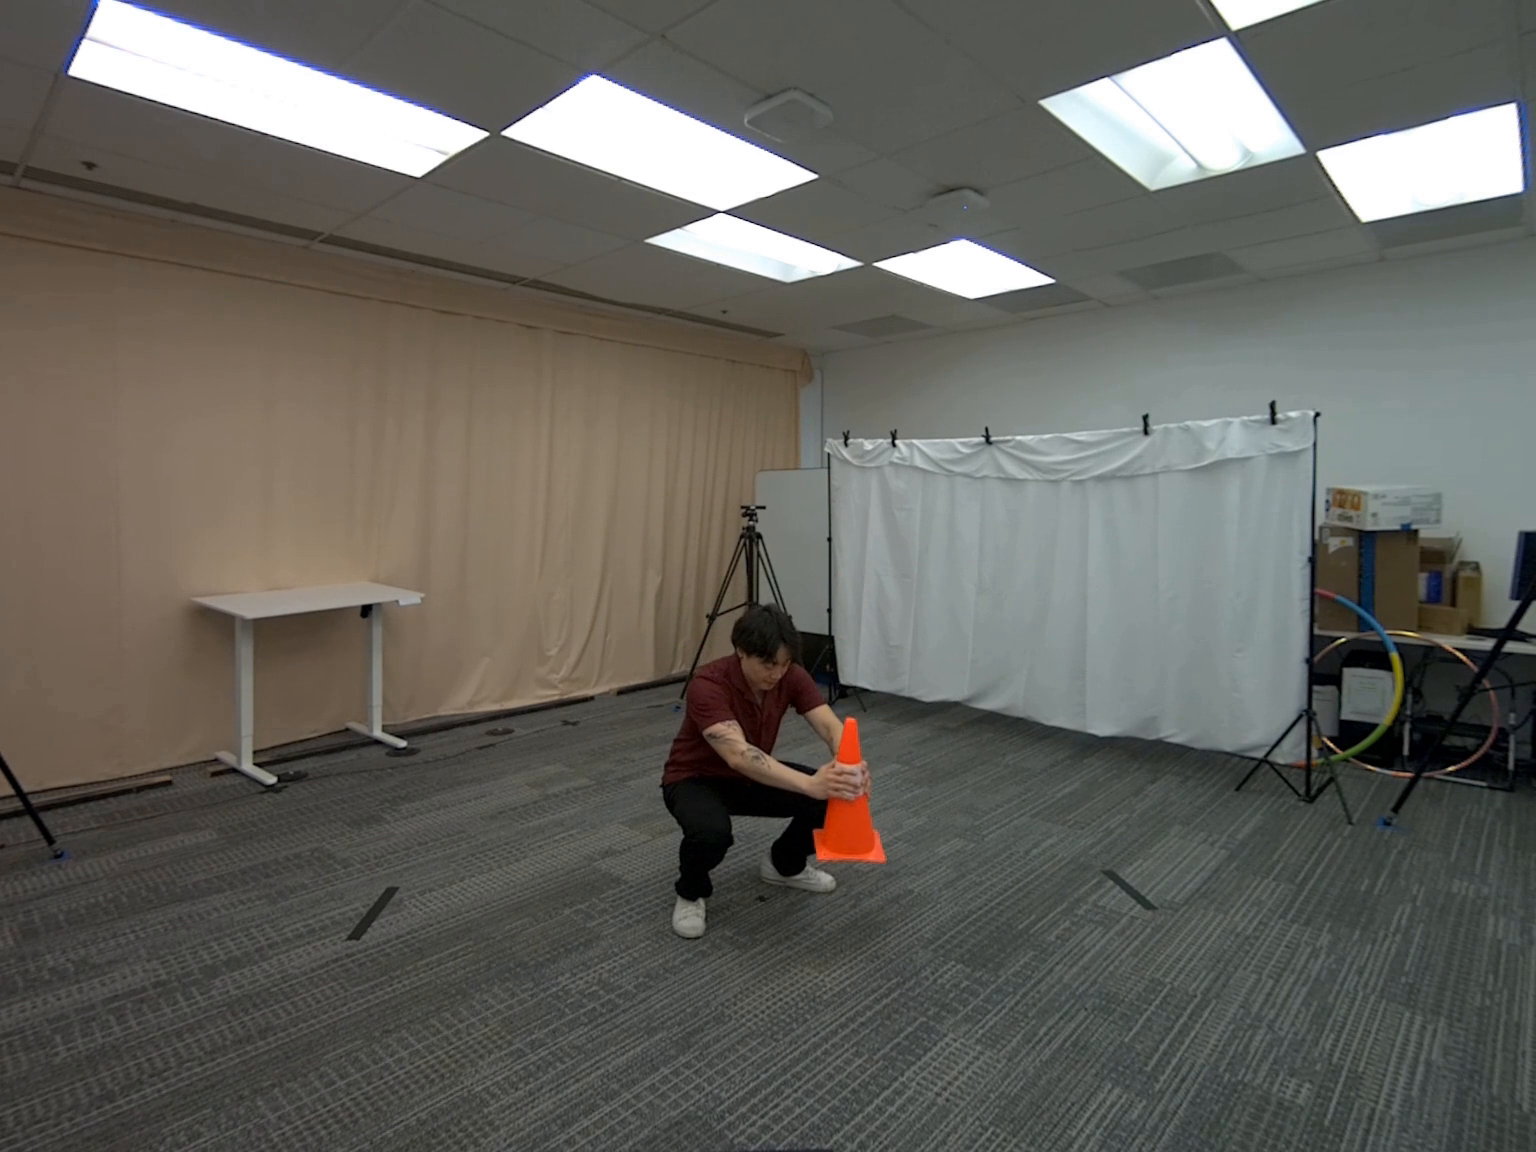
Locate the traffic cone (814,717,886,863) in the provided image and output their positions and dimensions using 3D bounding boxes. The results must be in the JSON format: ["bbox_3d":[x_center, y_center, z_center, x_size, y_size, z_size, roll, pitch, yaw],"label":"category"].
[{"bbox_3d":[0.246,0.601,2.489,0.203,0.383,0.205,-1,3,-9],"label":"traffic cone"}]
